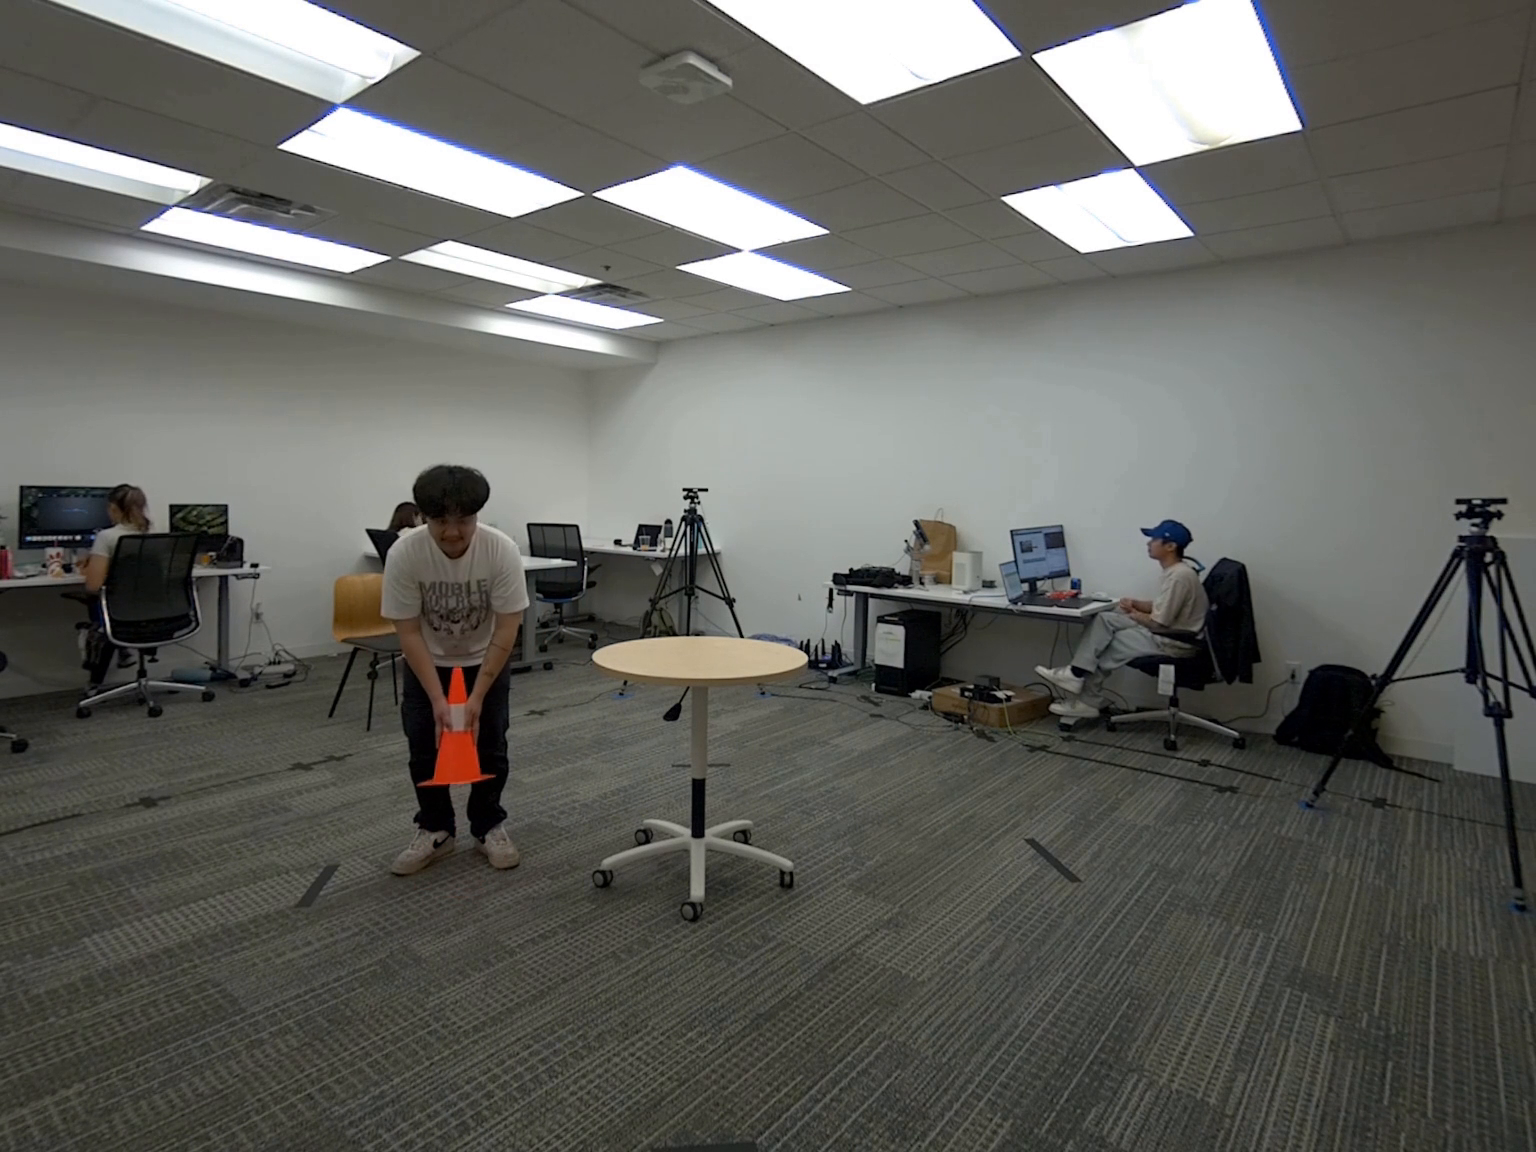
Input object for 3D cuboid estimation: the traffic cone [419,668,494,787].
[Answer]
[{"bbox_3d":[-1.095,0.519,2.956,0.210,0.386,0.197,-12,-8,42],"label":"traffic cone"}]
